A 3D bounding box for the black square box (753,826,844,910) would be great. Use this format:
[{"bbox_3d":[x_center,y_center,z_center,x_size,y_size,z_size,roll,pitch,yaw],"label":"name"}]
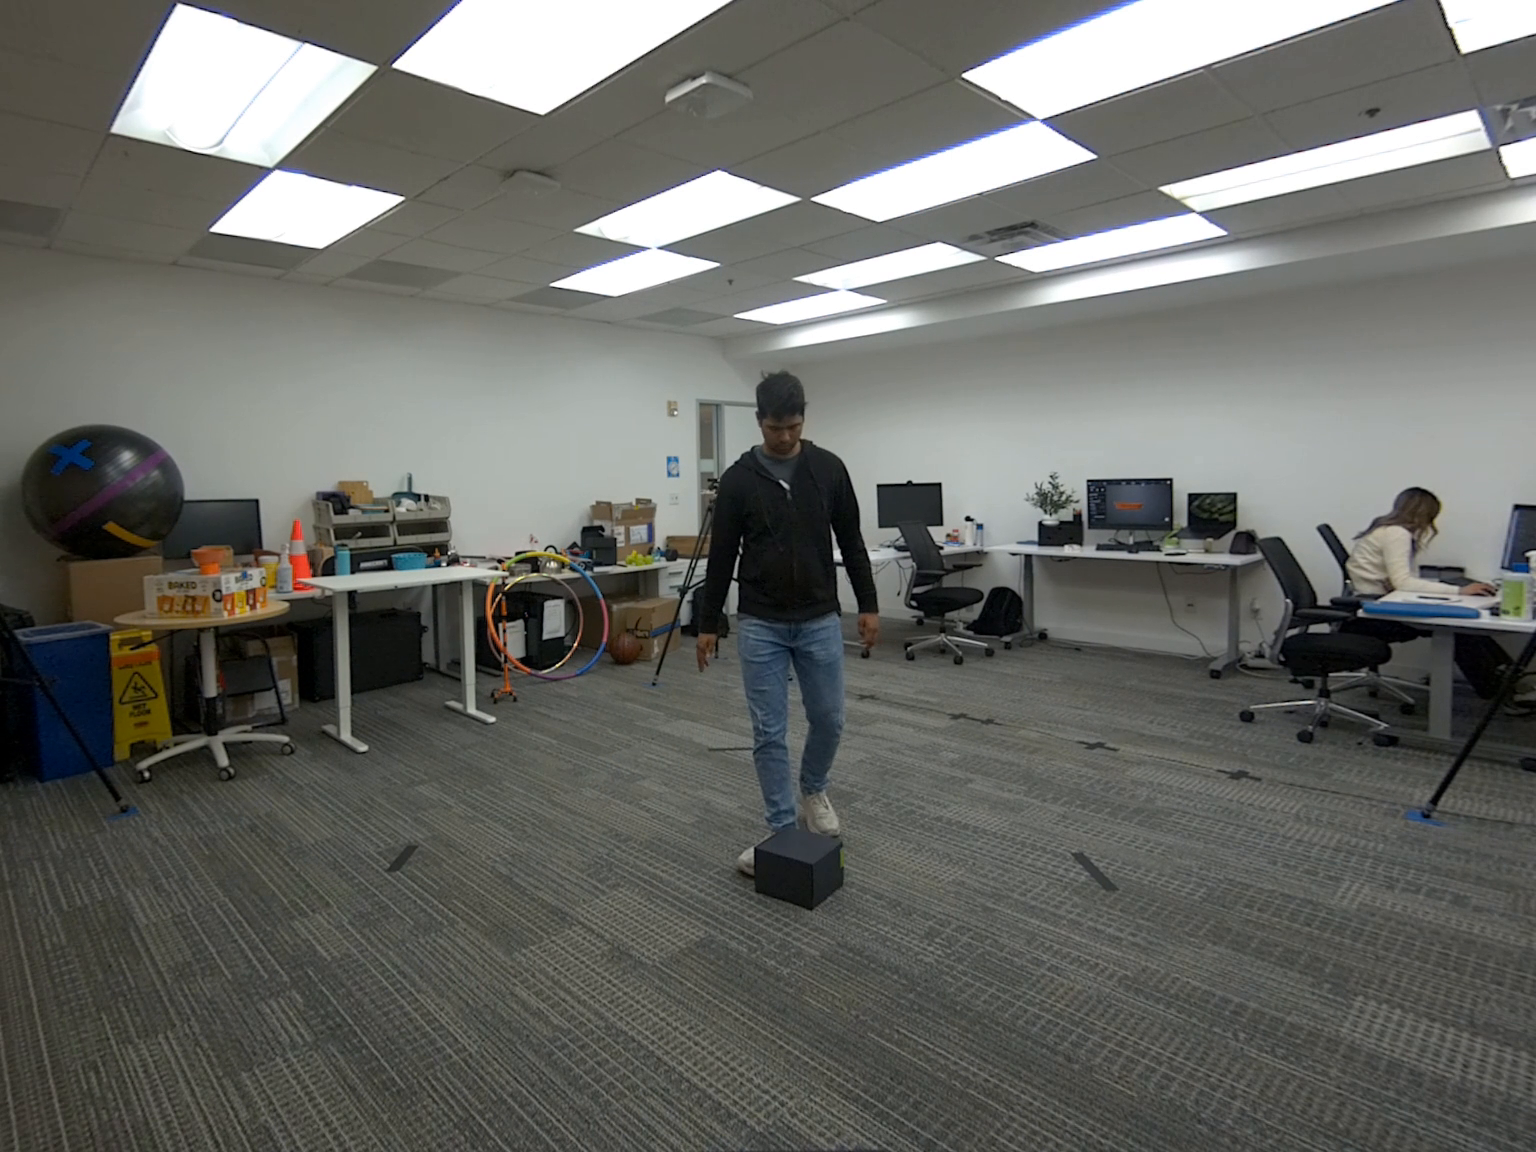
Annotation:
[{"bbox_3d":[0.107,0.985,2.896,0.235,0.155,0.211,4,7,38],"label":"black square box"}]
